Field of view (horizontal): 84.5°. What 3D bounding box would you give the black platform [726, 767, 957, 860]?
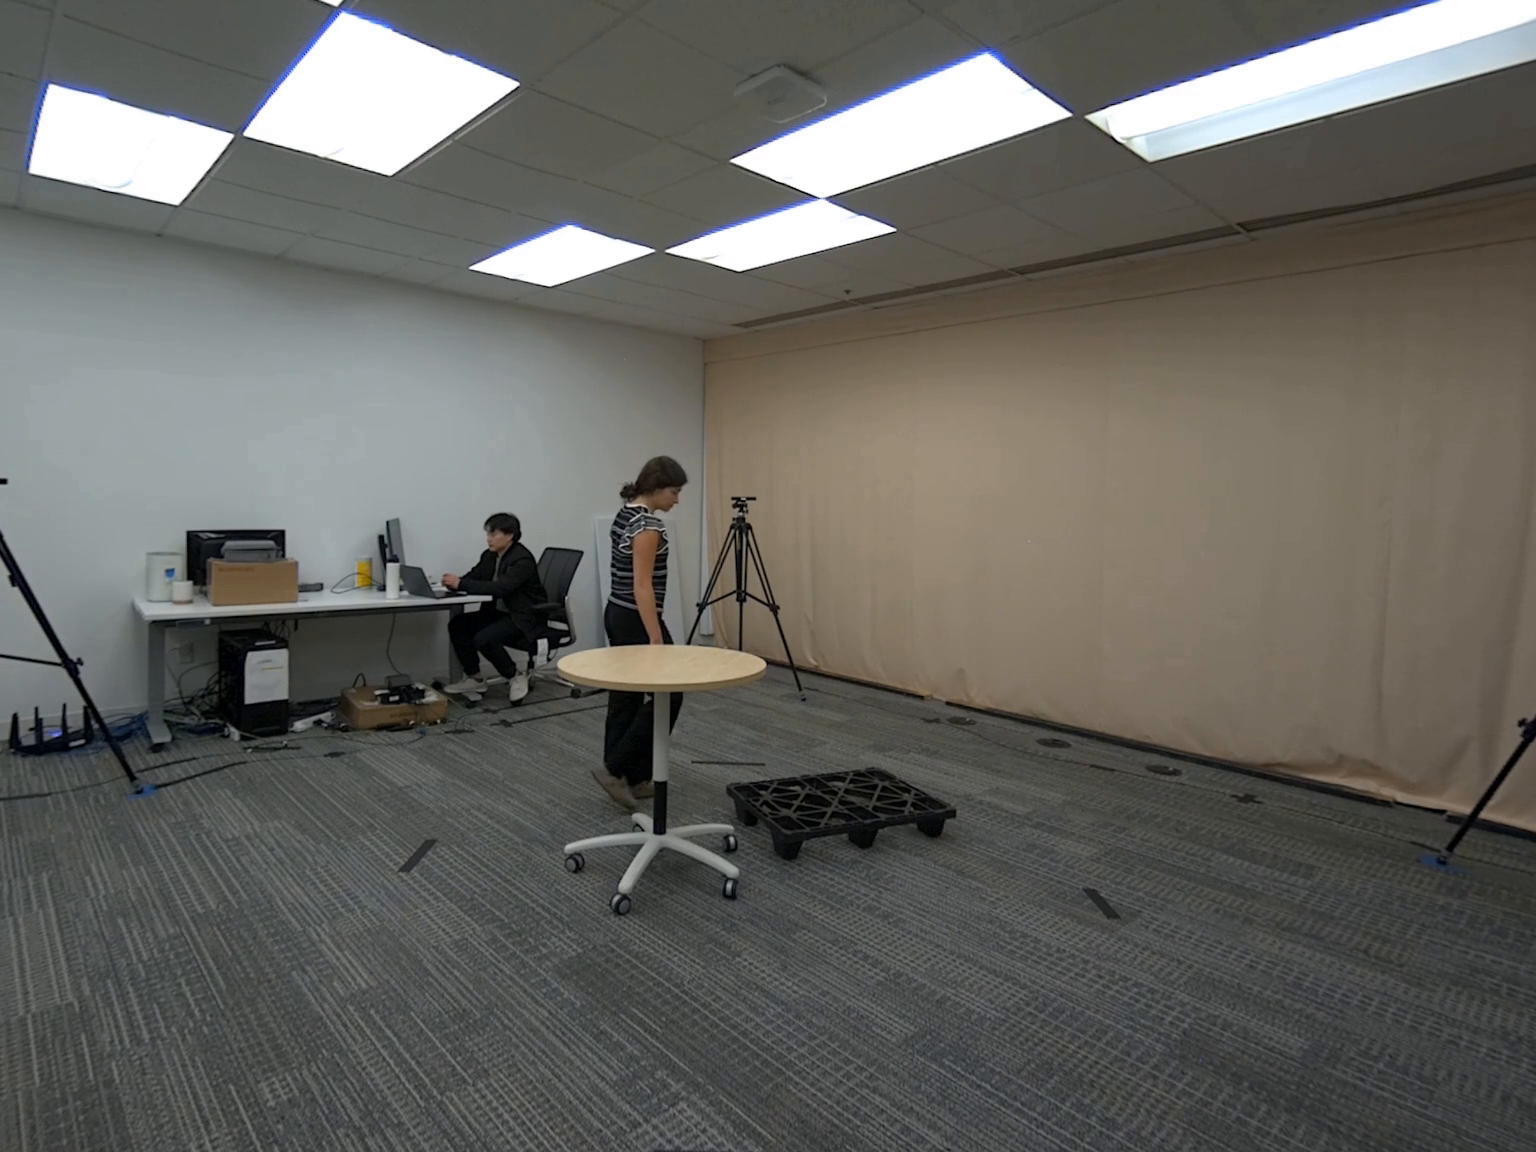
[{"bbox_3d":[0.289,1.009,3.597,0.792,0.143,0.617,-1,6,-24],"label":"black platform"}]
